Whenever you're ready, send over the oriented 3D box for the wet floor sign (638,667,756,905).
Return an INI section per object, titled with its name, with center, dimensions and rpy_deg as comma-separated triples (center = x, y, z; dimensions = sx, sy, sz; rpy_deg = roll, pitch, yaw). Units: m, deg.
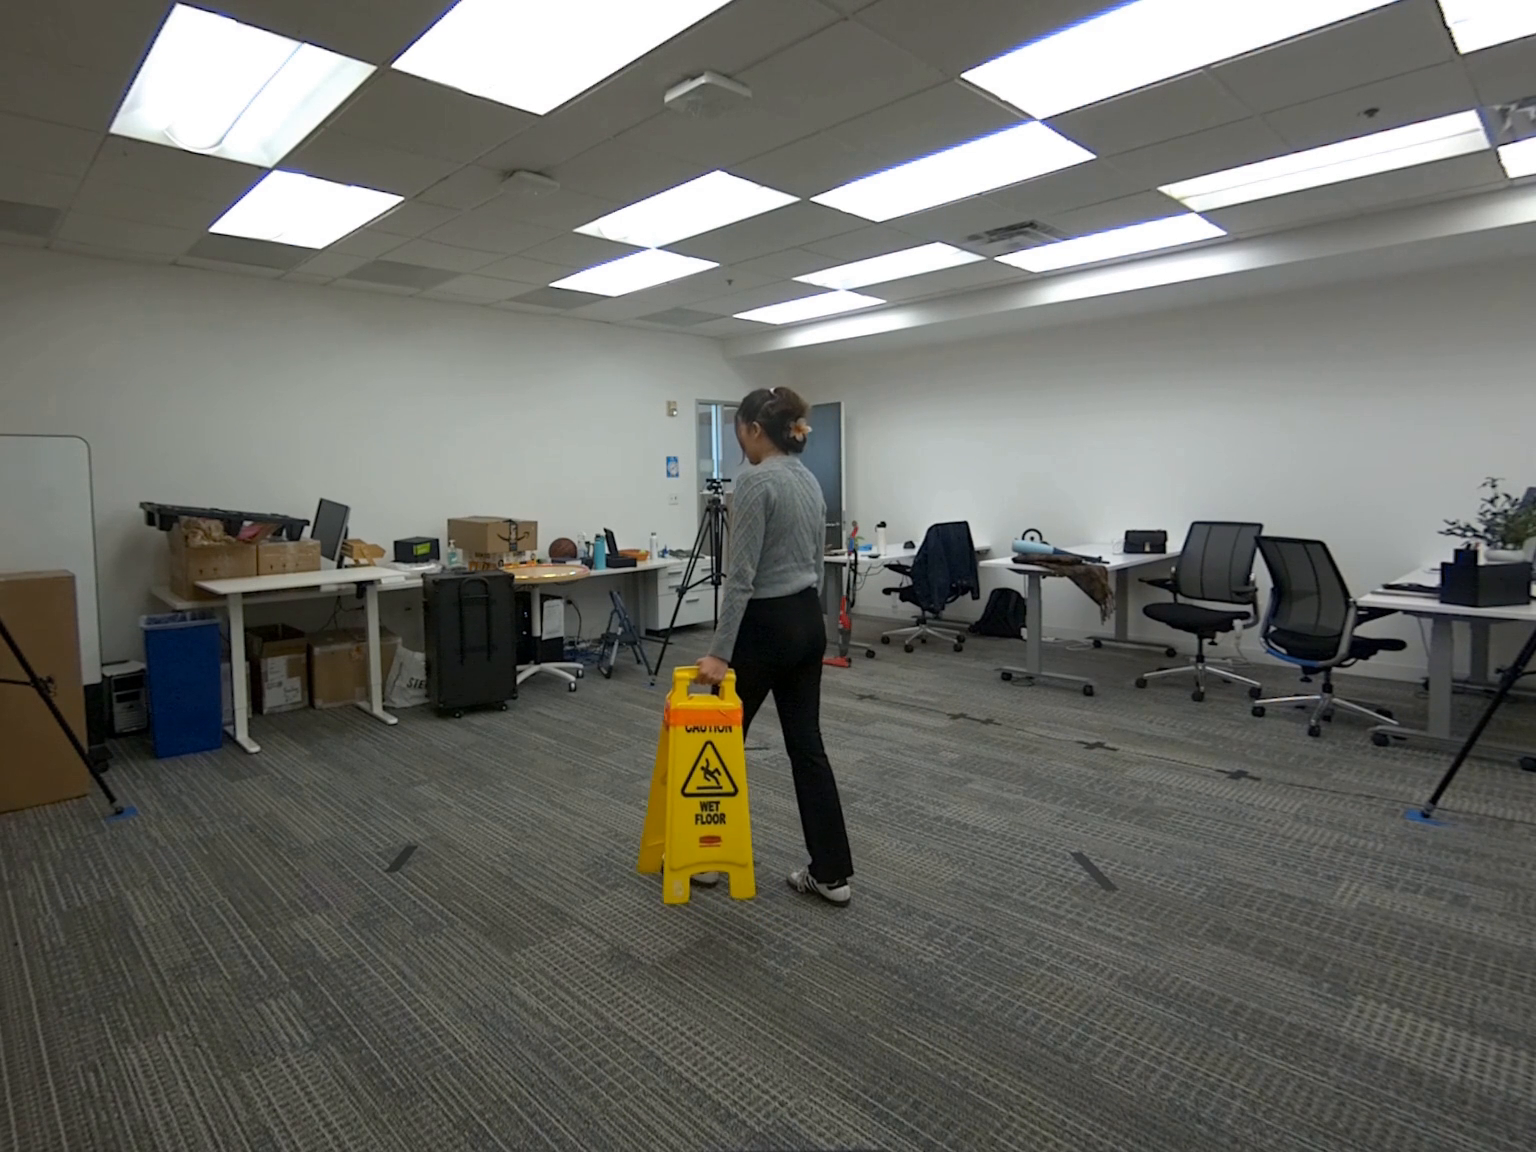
[wet floor sign]
center = -0.211, 0.602, 2.589
dimensions = 0.276, 0.649, 0.294
rpy_deg = 5, -6, -23
